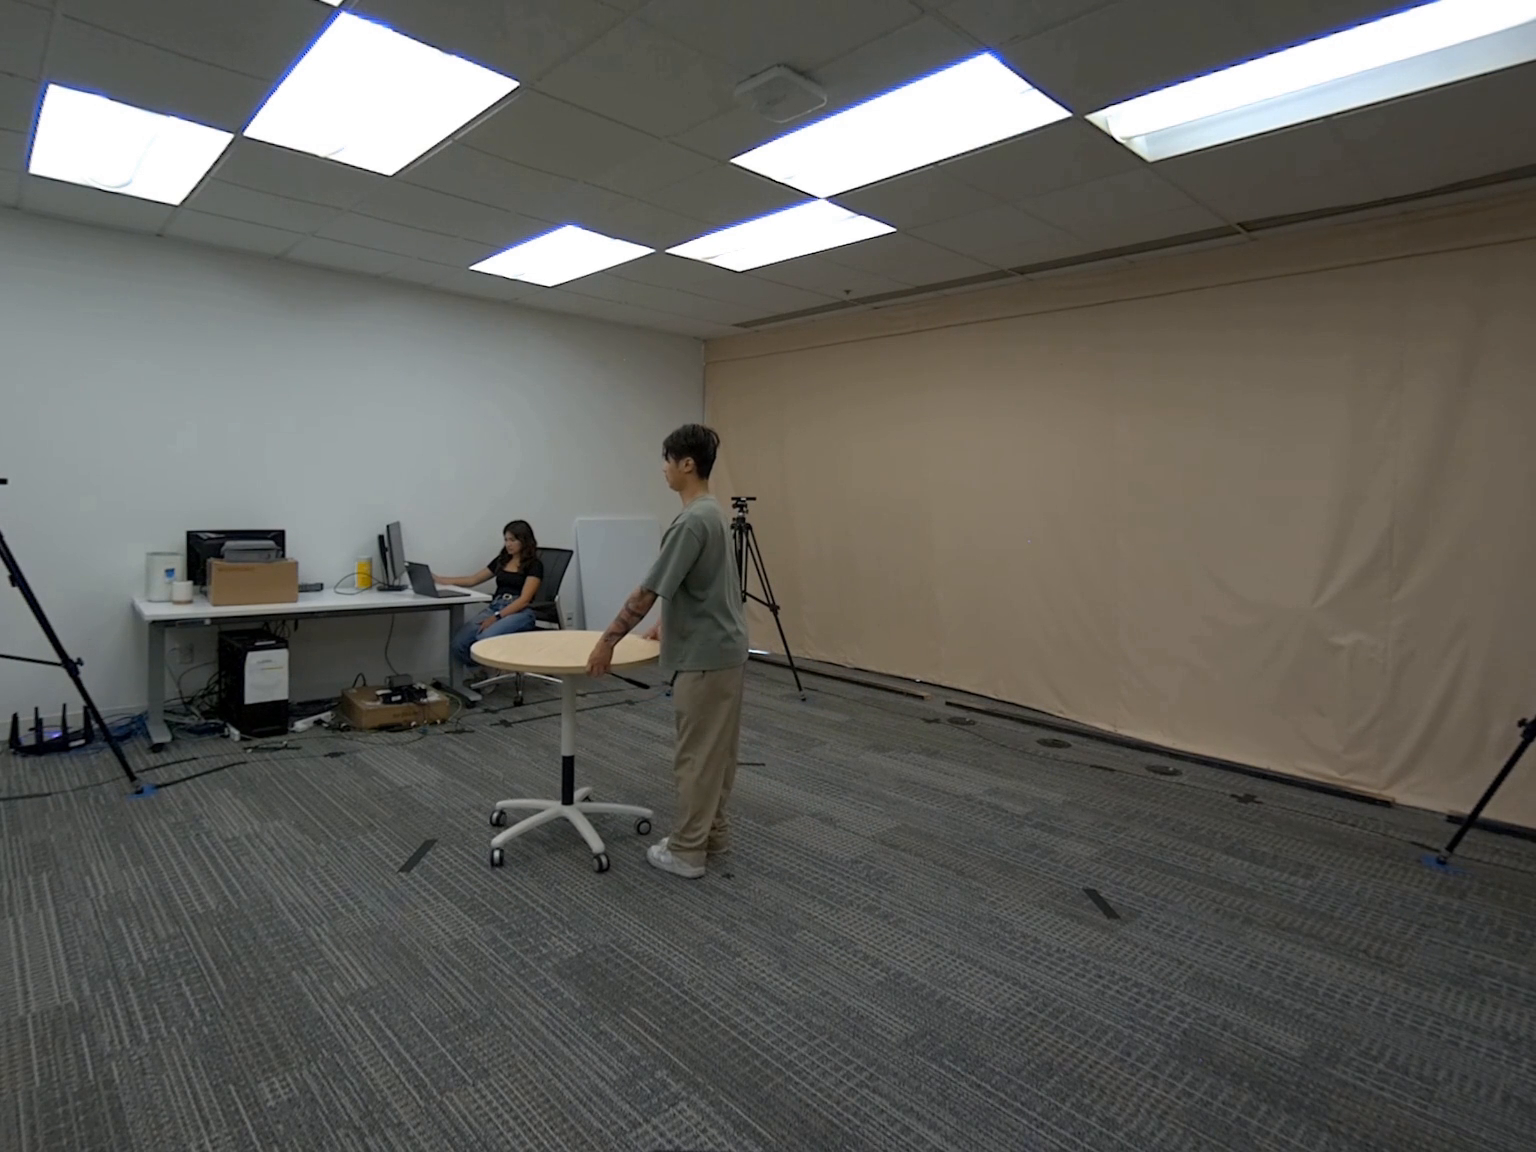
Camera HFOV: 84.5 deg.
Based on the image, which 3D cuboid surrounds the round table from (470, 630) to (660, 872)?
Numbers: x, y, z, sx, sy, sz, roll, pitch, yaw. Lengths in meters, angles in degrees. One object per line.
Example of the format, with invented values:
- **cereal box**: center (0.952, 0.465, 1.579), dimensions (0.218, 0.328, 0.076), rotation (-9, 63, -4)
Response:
- **round table**: center (-0.819, 0.668, 3.402), dimensions (0.784, 0.784, 0.788), rotation (2, 4, -2)
